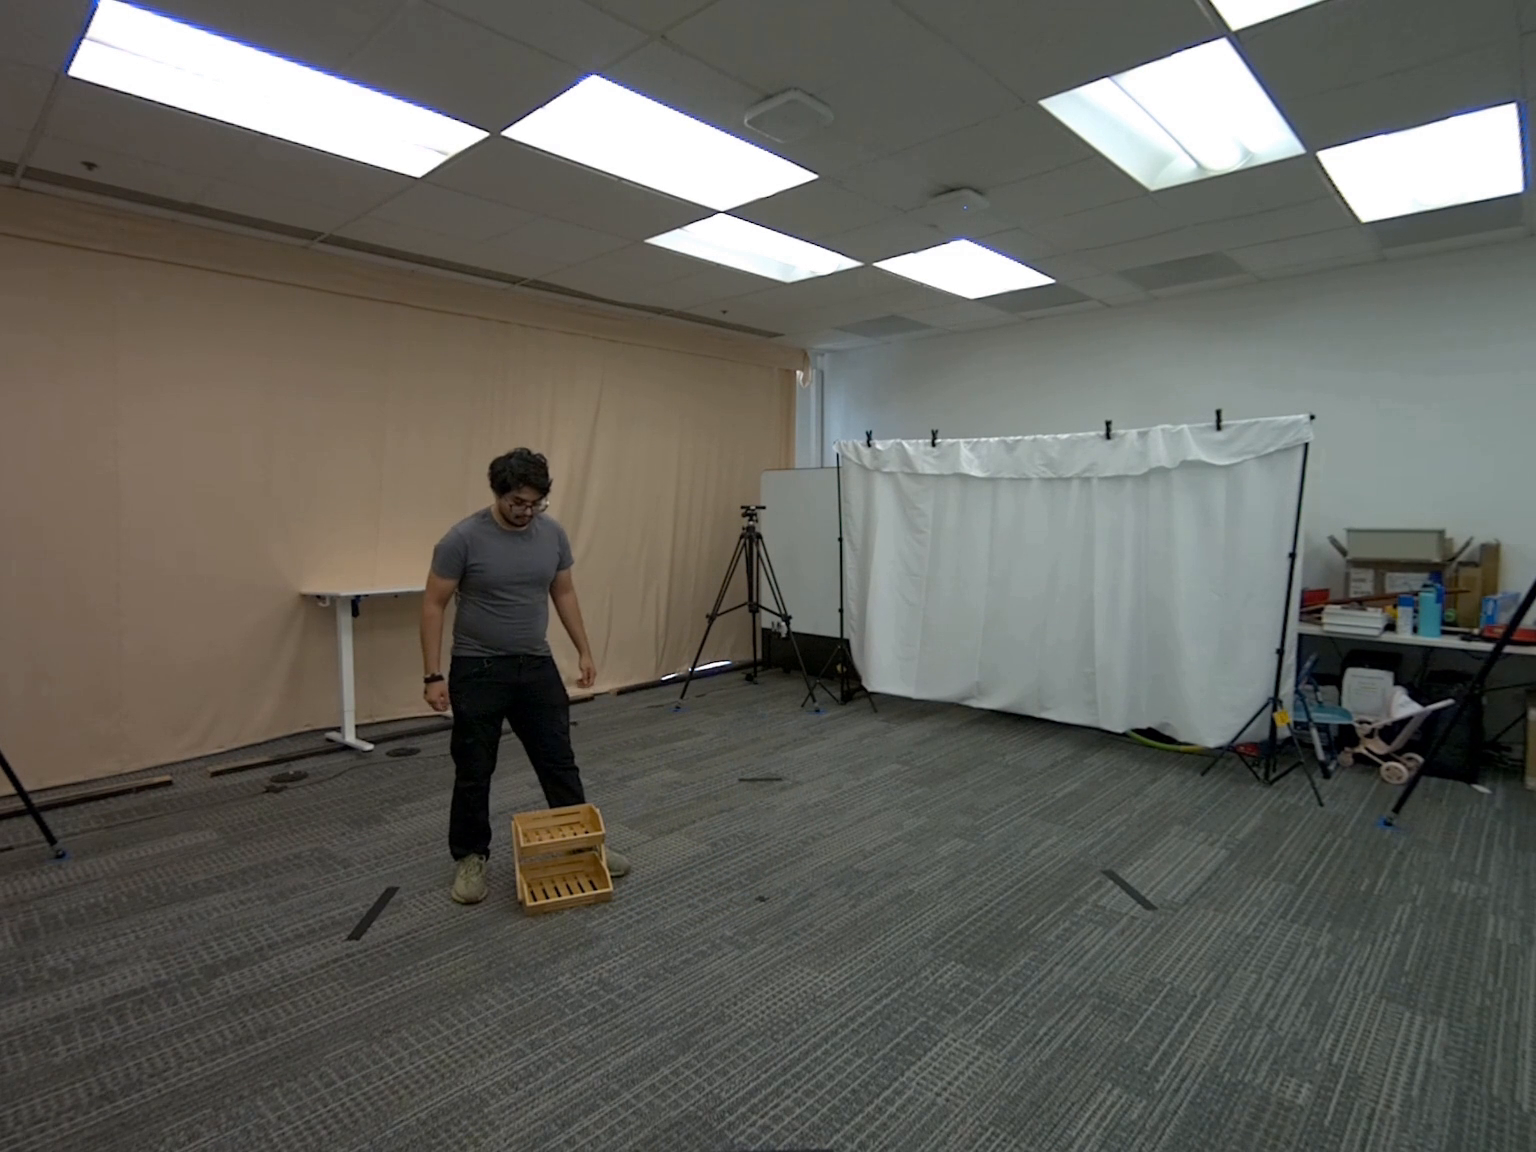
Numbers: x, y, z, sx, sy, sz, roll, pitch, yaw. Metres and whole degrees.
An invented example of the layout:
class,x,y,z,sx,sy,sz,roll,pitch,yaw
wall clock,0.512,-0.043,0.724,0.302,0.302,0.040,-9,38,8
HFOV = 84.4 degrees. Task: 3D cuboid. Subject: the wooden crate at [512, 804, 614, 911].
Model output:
class,x,y,z,sx,sy,sz,roll,pitch,yaw
wooden crate,-0.746,1.013,3.031,0.317,0.273,0.309,-2,3,-23
